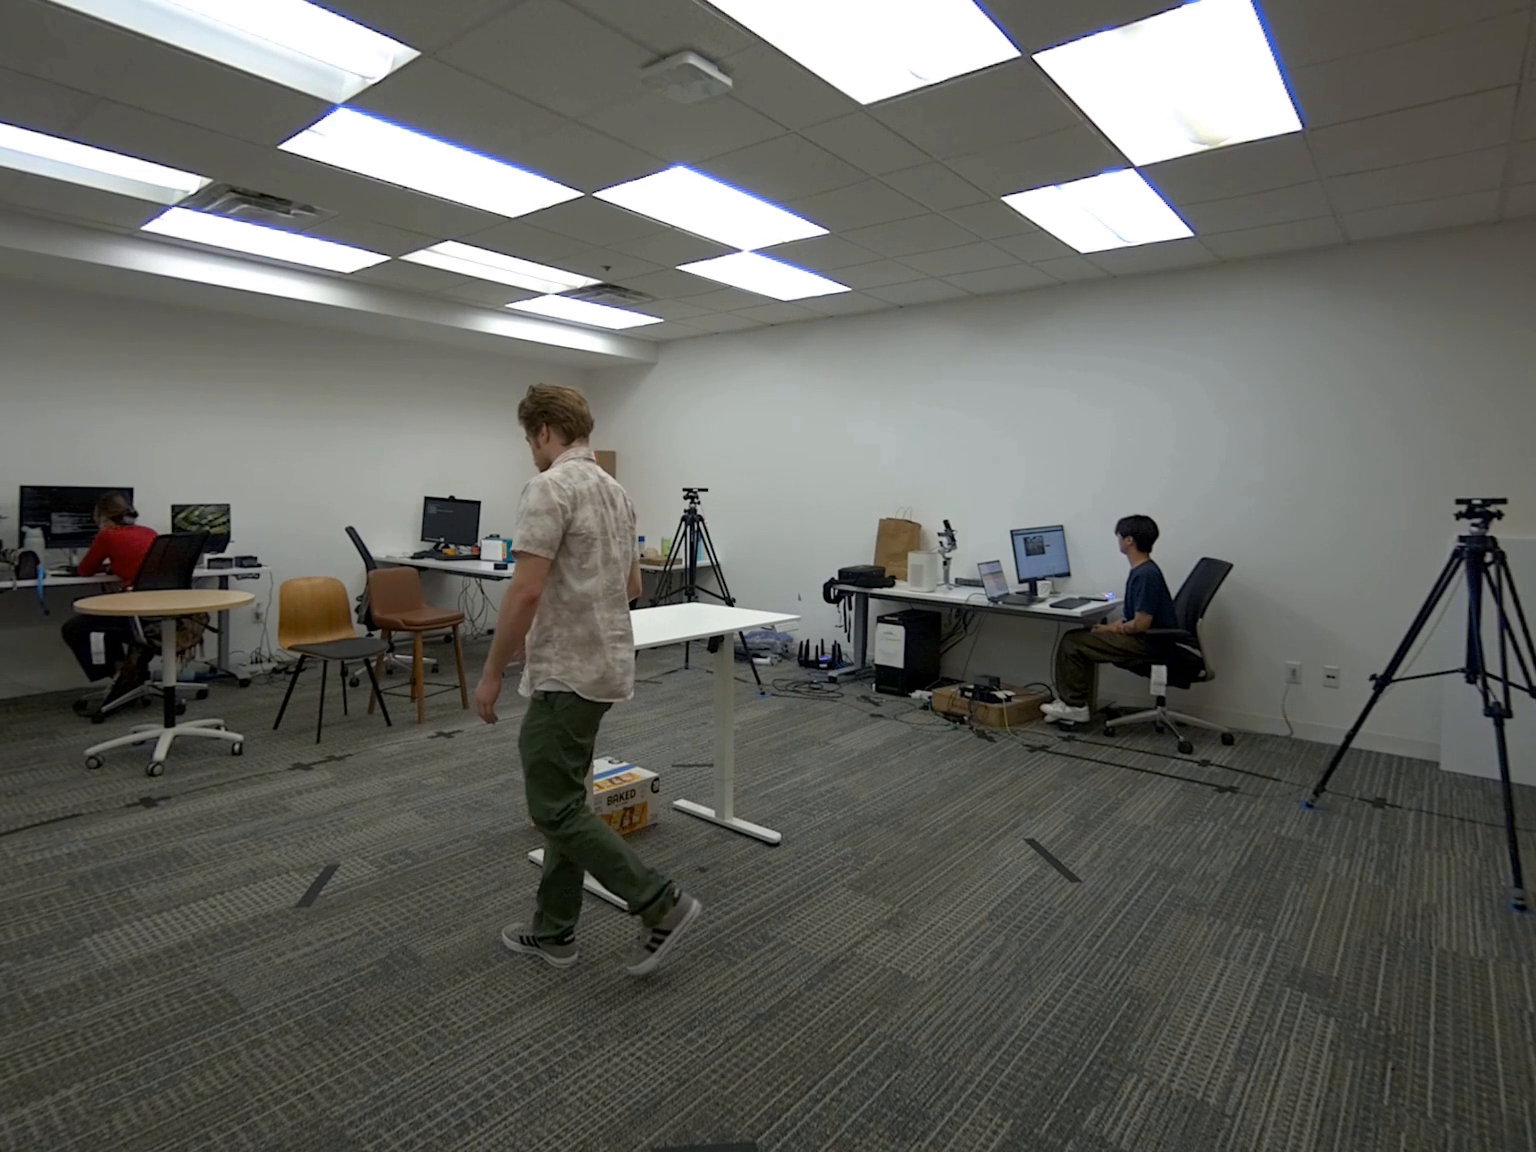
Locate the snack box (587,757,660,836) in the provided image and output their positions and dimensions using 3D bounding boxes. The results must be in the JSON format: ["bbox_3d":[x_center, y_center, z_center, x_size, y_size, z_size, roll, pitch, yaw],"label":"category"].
[{"bbox_3d":[-0.720,0.922,3.504,0.352,0.205,0.393,6,7,42],"label":"snack box"}]
